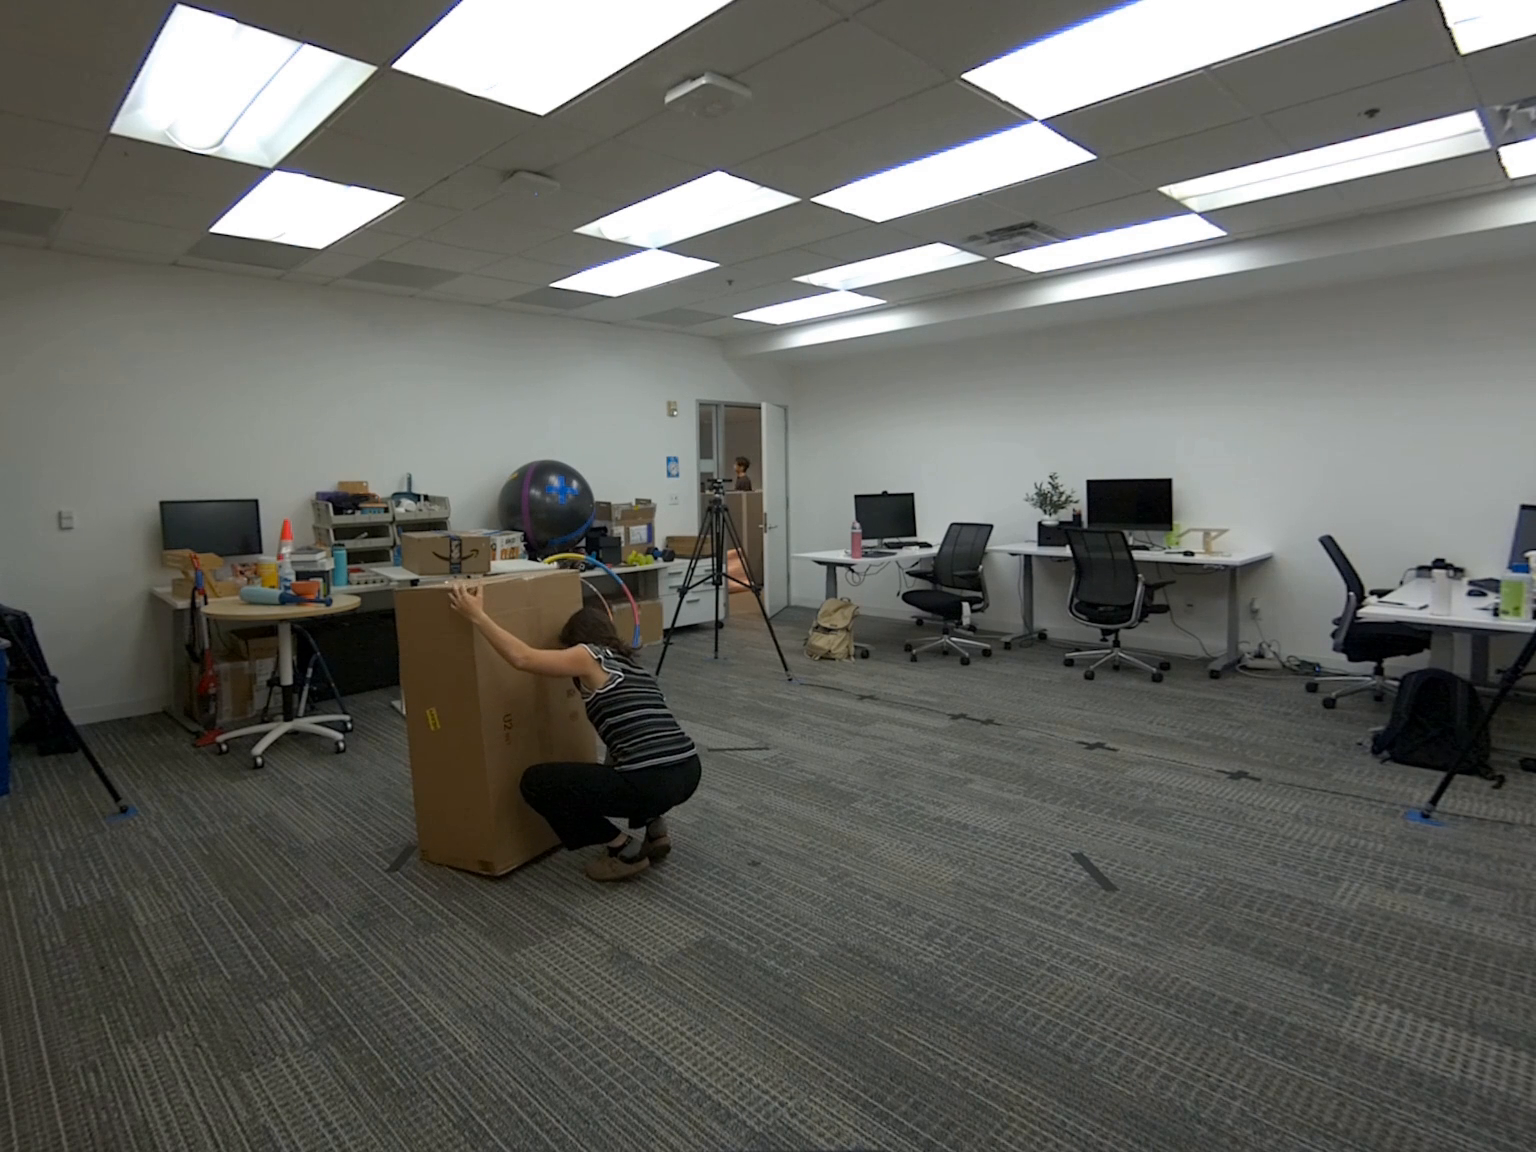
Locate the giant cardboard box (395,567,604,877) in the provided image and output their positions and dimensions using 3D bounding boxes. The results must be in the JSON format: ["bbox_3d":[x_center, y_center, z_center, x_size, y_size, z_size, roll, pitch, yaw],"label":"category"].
[{"bbox_3d":[-1.030,0.512,3.318,0.437,1.023,0.565,-3,3,30],"label":"giant cardboard box"}]
